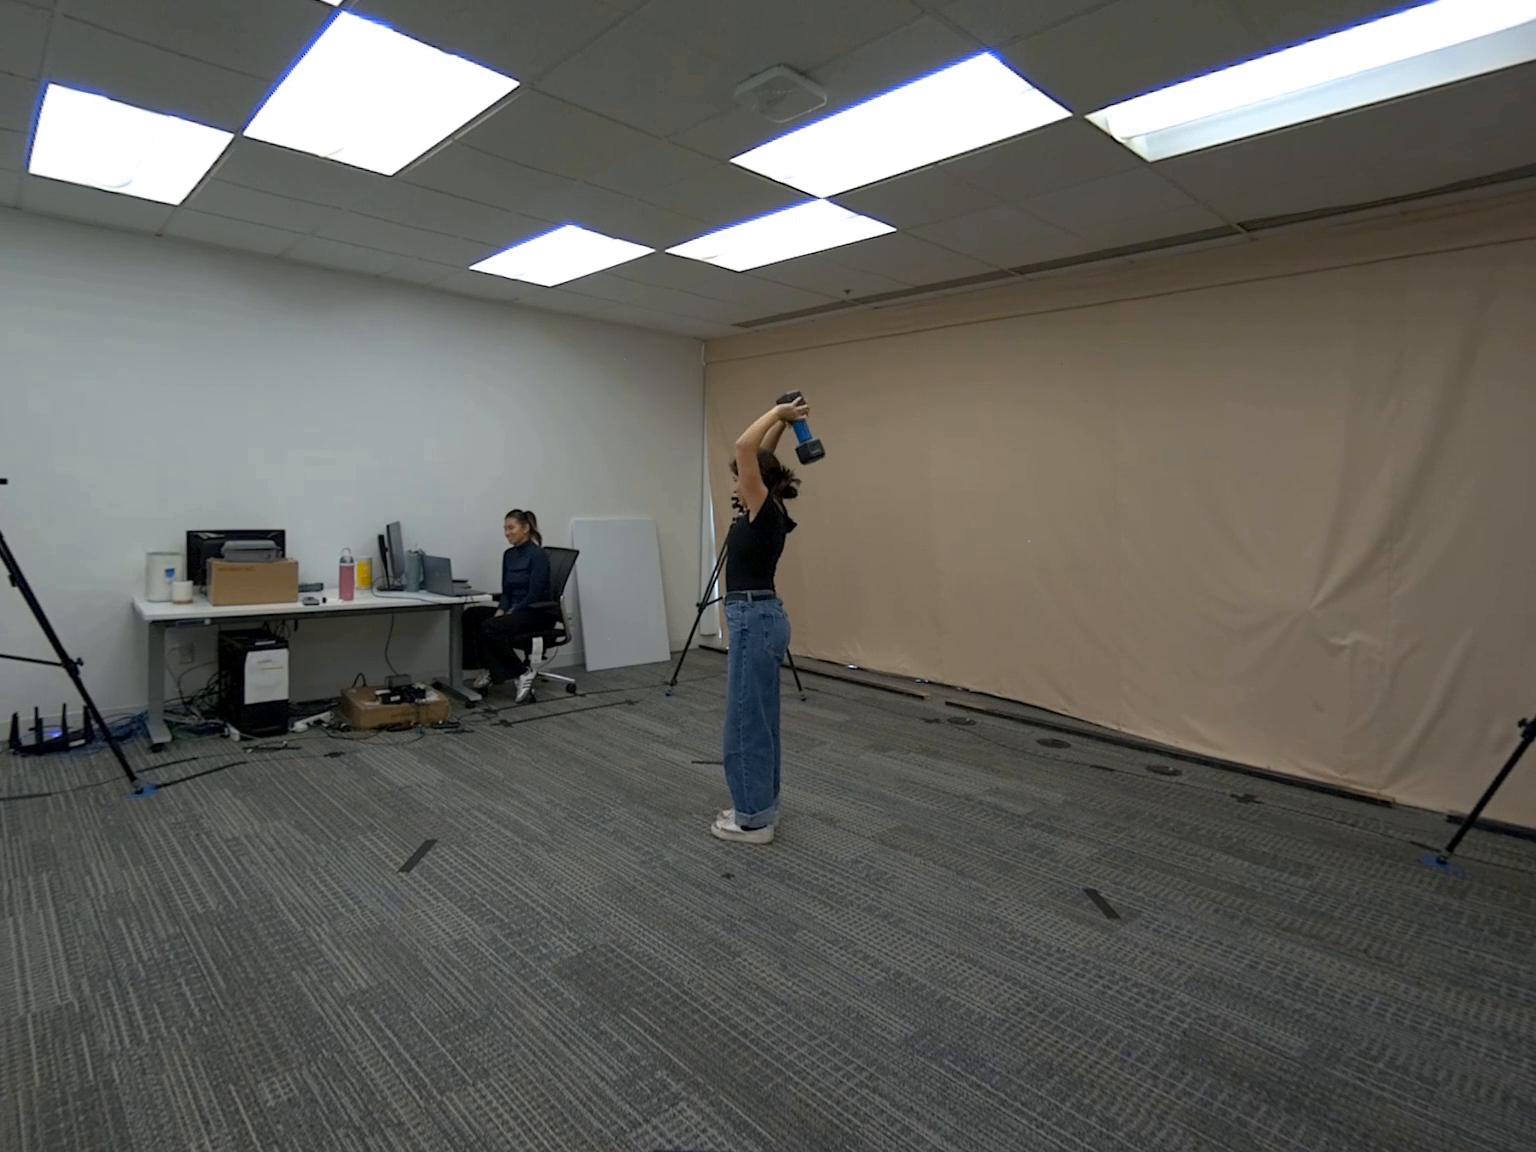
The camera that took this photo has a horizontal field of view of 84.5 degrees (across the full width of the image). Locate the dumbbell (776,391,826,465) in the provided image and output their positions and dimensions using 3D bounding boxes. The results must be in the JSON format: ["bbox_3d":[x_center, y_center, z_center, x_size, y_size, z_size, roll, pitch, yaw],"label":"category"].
[{"bbox_3d":[0.125,-0.597,3.421,0.124,0.296,0.107,-29,-10,40],"label":"dumbbell"}]
